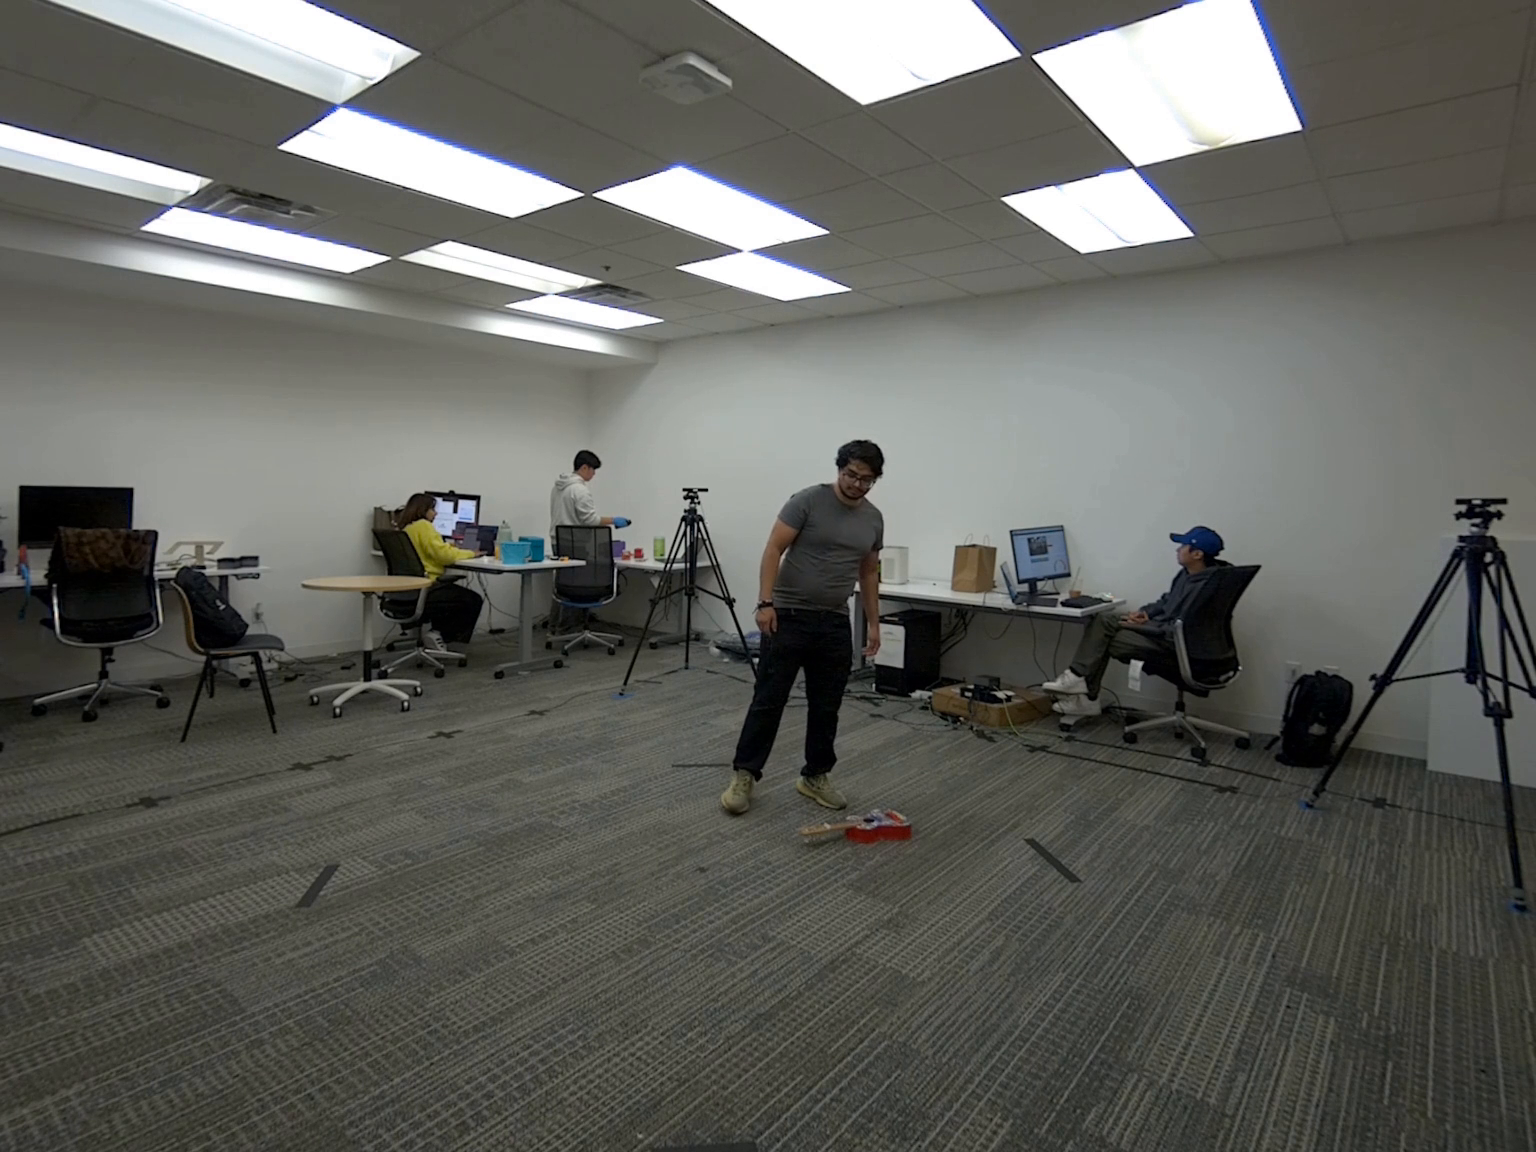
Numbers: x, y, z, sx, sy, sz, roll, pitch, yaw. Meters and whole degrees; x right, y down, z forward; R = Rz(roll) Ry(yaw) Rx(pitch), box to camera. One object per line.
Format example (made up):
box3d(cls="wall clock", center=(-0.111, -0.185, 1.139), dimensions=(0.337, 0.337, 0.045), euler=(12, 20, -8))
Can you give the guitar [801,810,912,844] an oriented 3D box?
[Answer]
box3d(cls="guitar", center=(0.325, 1.012, 3.456), dimensions=(0.490, 0.070, 0.197), euler=(0, 6, -16))
